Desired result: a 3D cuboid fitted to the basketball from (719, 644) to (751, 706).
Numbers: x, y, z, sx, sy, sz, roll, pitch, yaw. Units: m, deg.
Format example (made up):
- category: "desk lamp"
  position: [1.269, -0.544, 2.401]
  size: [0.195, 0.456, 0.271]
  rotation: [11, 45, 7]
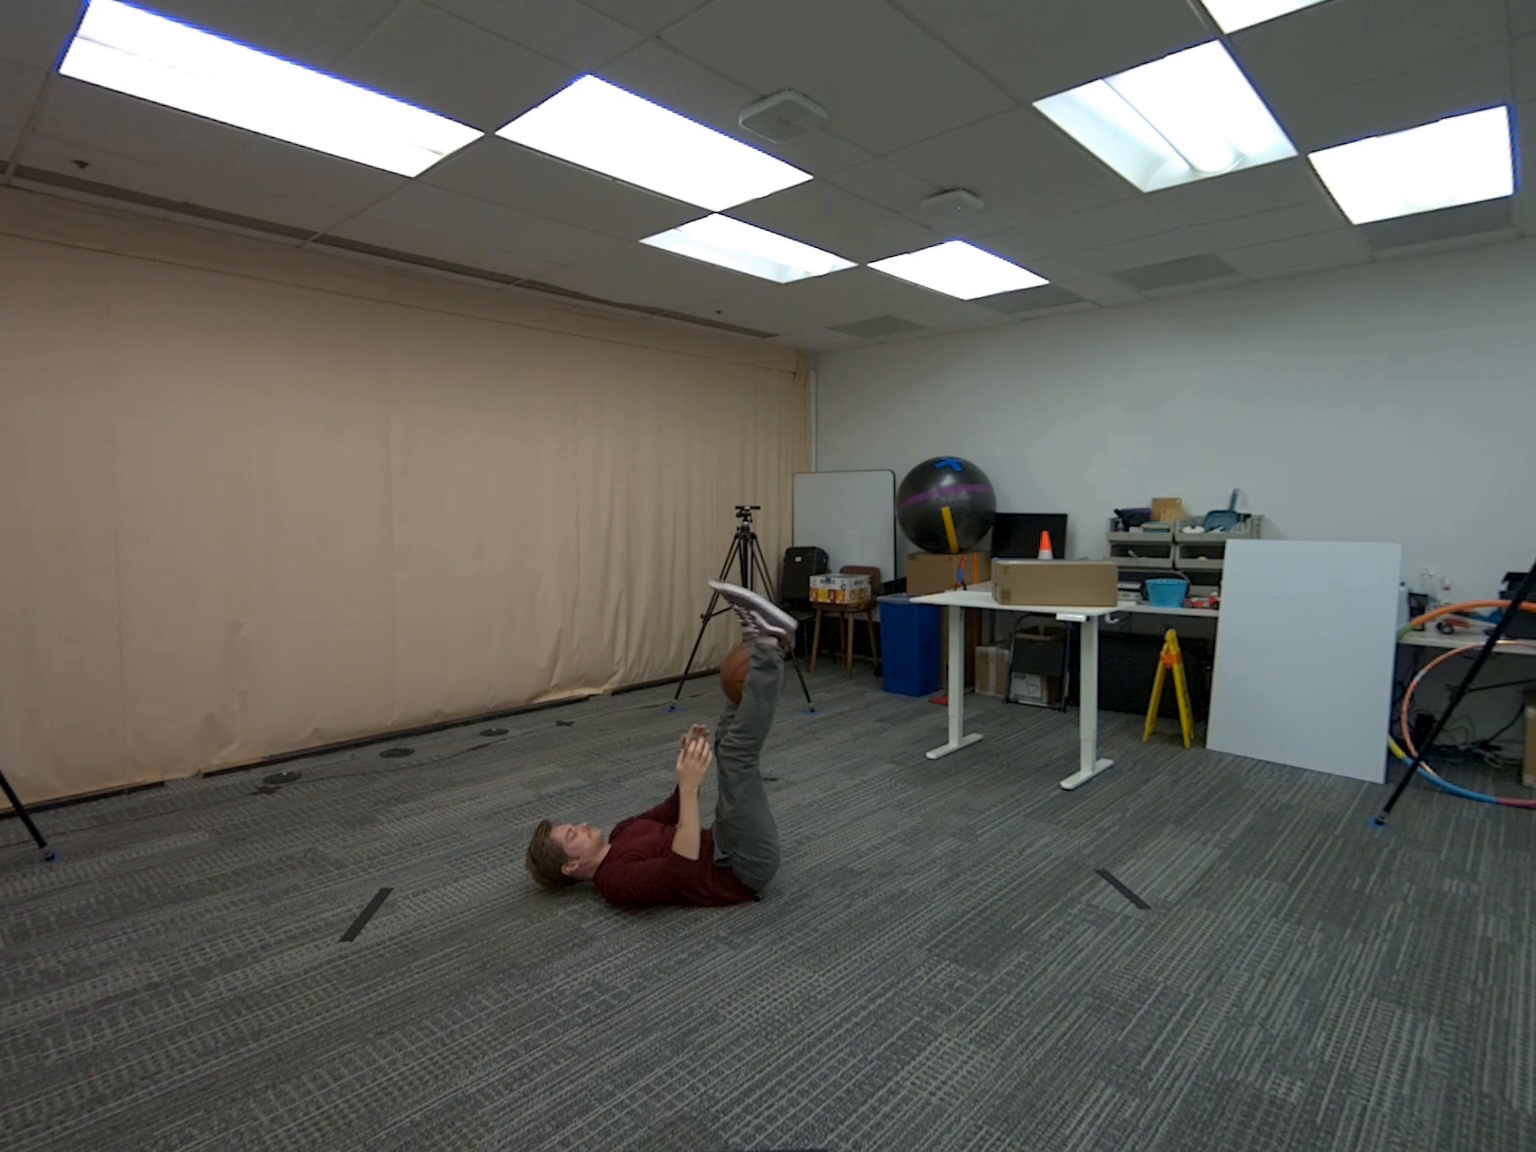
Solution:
- category: "basketball"
  position: [-0.048, 0.363, 3.021]
  size: [0.236, 0.235, 0.237]
  rotation: [0, 4, -2]
